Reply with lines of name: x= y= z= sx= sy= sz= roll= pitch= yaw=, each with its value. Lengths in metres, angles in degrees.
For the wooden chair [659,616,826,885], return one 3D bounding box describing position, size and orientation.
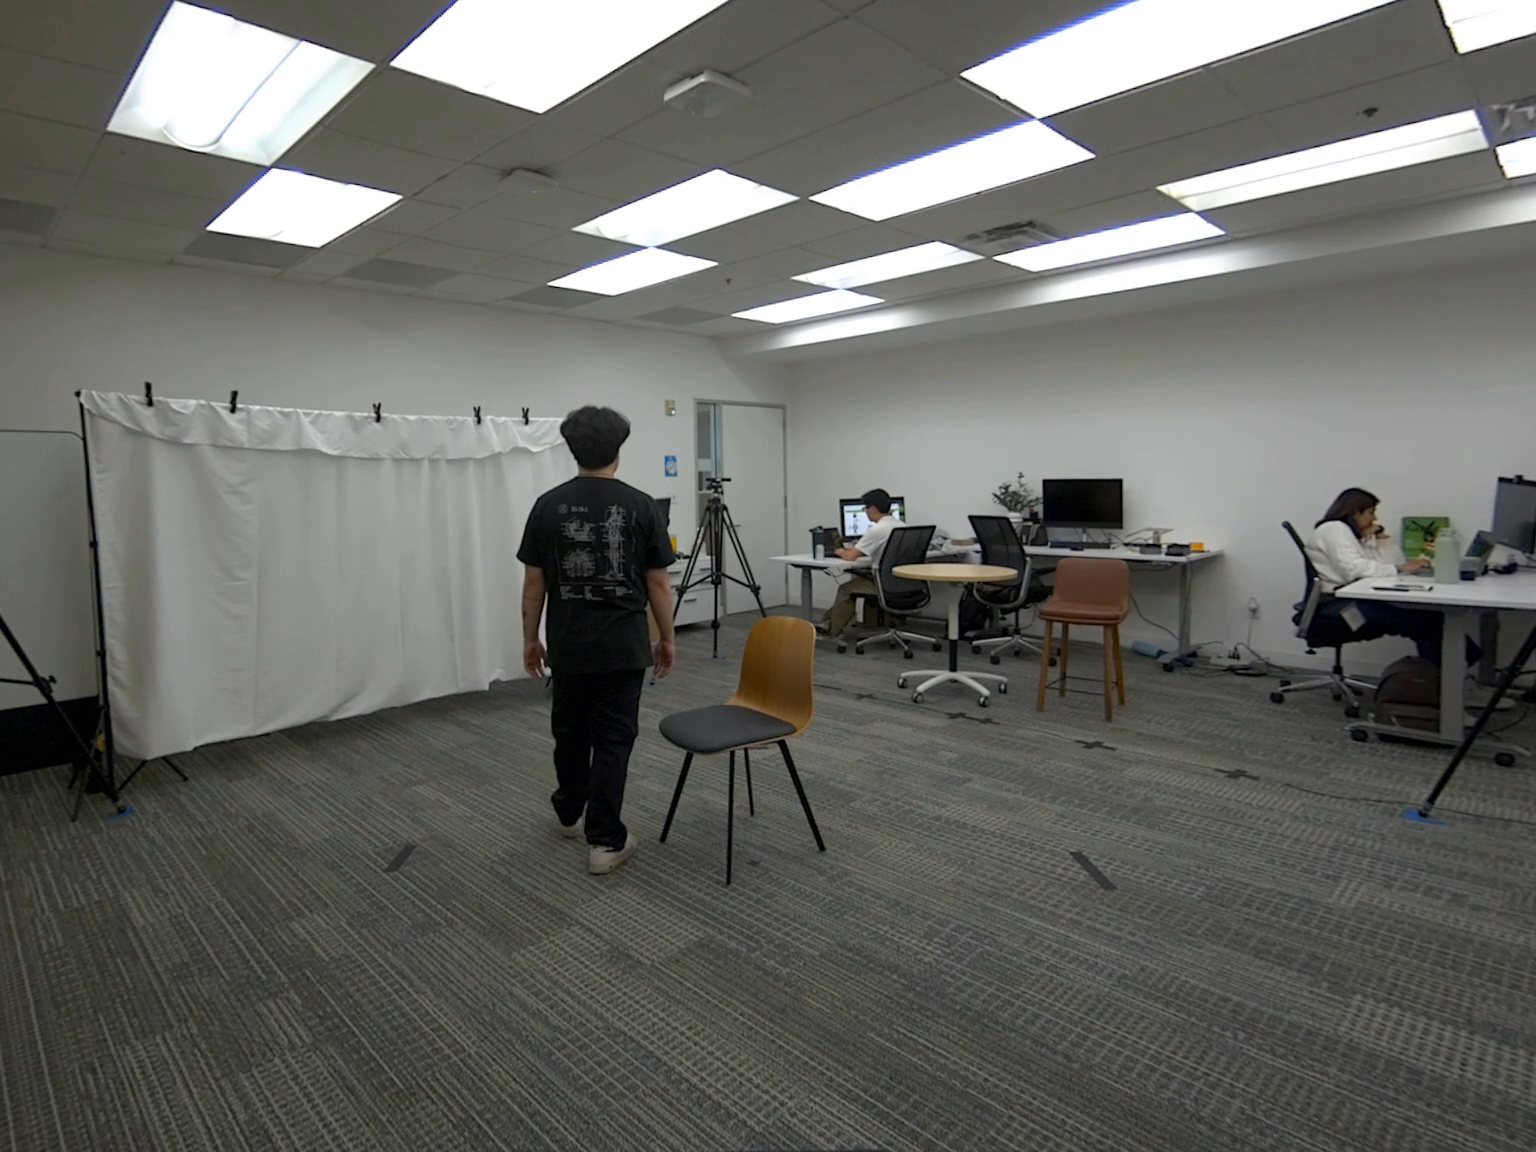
wooden chair: x=-0.113 y=0.602 z=3.205 sx=0.508 sy=0.876 sz=0.492 roll=1 pitch=2 yaw=-38
